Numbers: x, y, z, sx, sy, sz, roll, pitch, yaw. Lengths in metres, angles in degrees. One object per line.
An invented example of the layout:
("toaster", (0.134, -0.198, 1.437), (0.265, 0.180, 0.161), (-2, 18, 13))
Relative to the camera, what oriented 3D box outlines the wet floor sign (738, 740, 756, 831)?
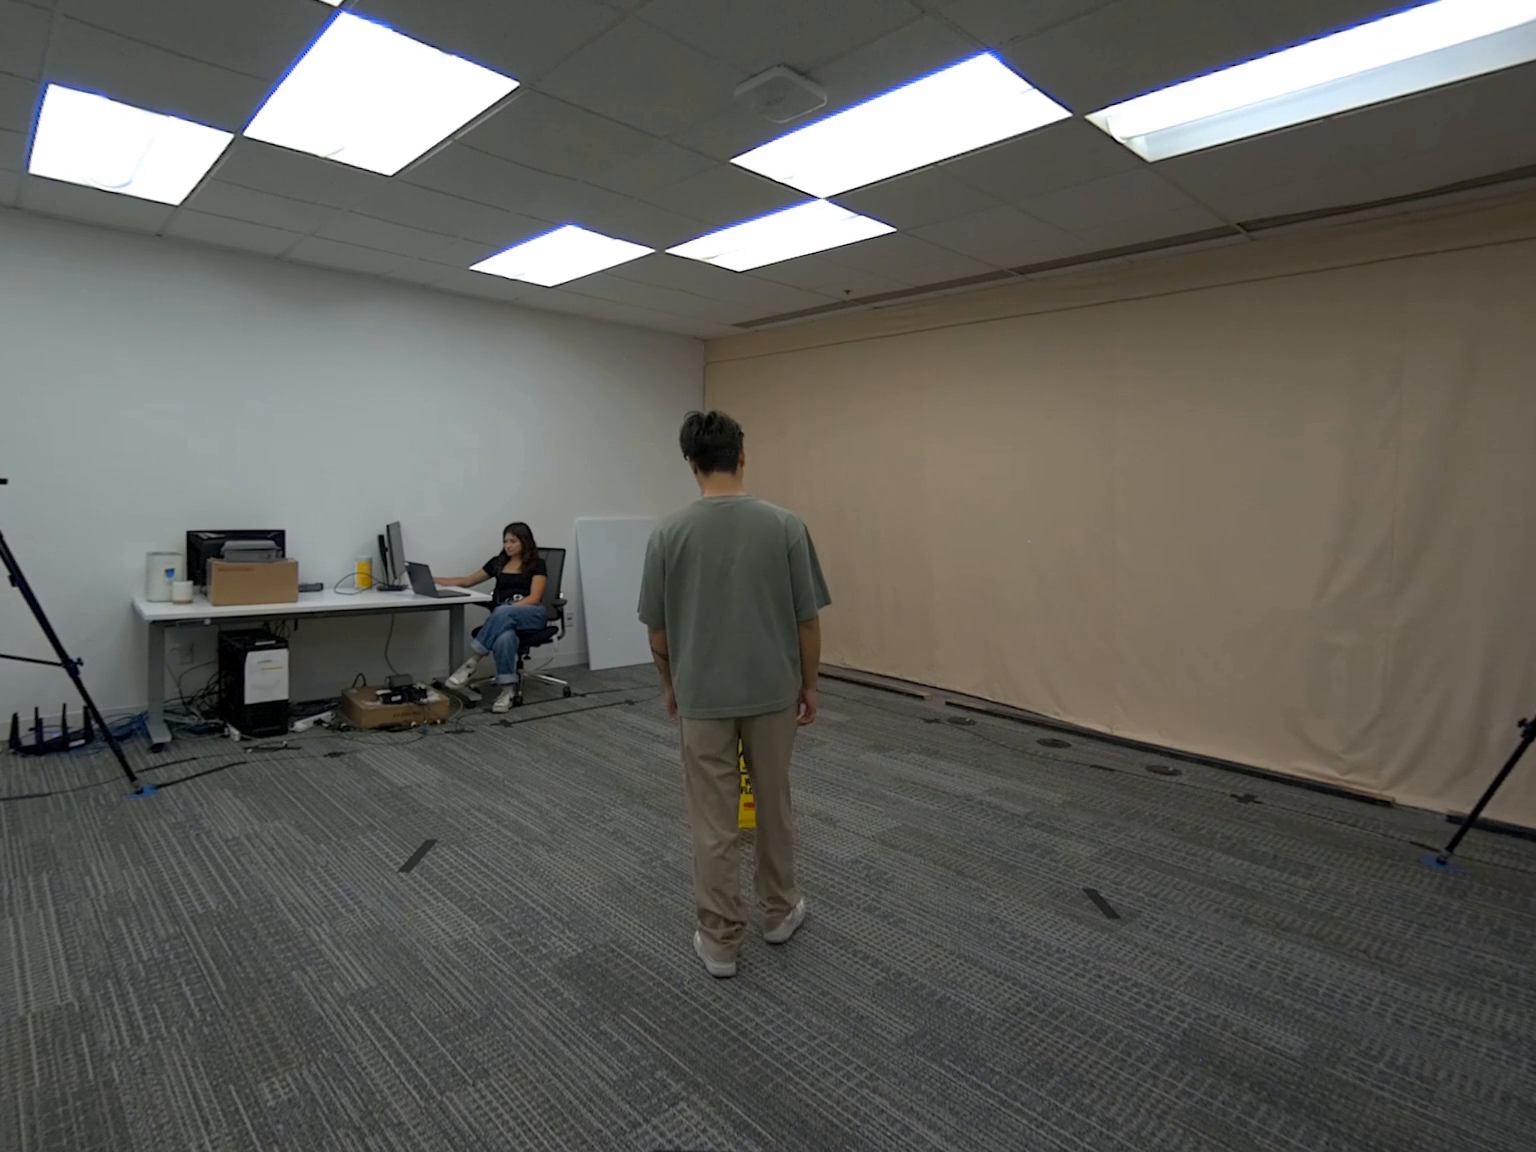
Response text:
("wet floor sign", (-0.072, 0.756, 3.473), (0.281, 0.645, 0.291), (3, 2, -4))
